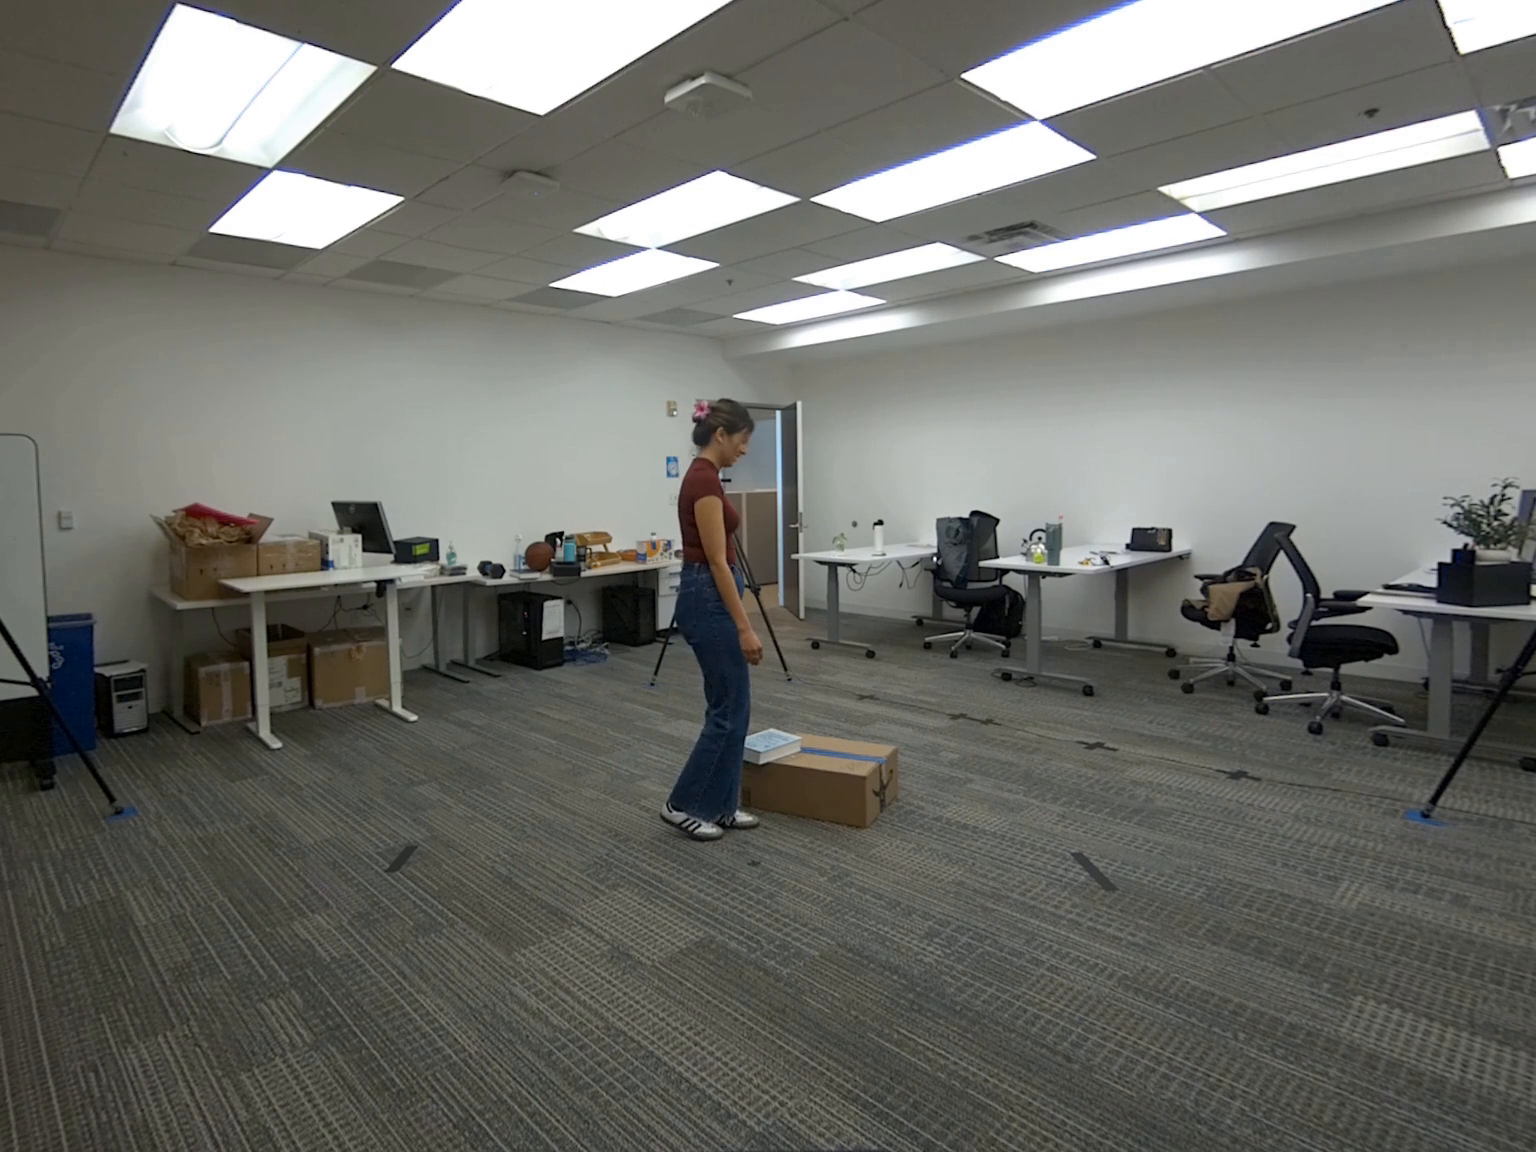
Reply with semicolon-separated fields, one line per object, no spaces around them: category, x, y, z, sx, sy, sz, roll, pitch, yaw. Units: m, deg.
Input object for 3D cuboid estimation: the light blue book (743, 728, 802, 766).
light blue book;-0.008;0.731;3.691;0.197;0.059;0.254;7;10;44
